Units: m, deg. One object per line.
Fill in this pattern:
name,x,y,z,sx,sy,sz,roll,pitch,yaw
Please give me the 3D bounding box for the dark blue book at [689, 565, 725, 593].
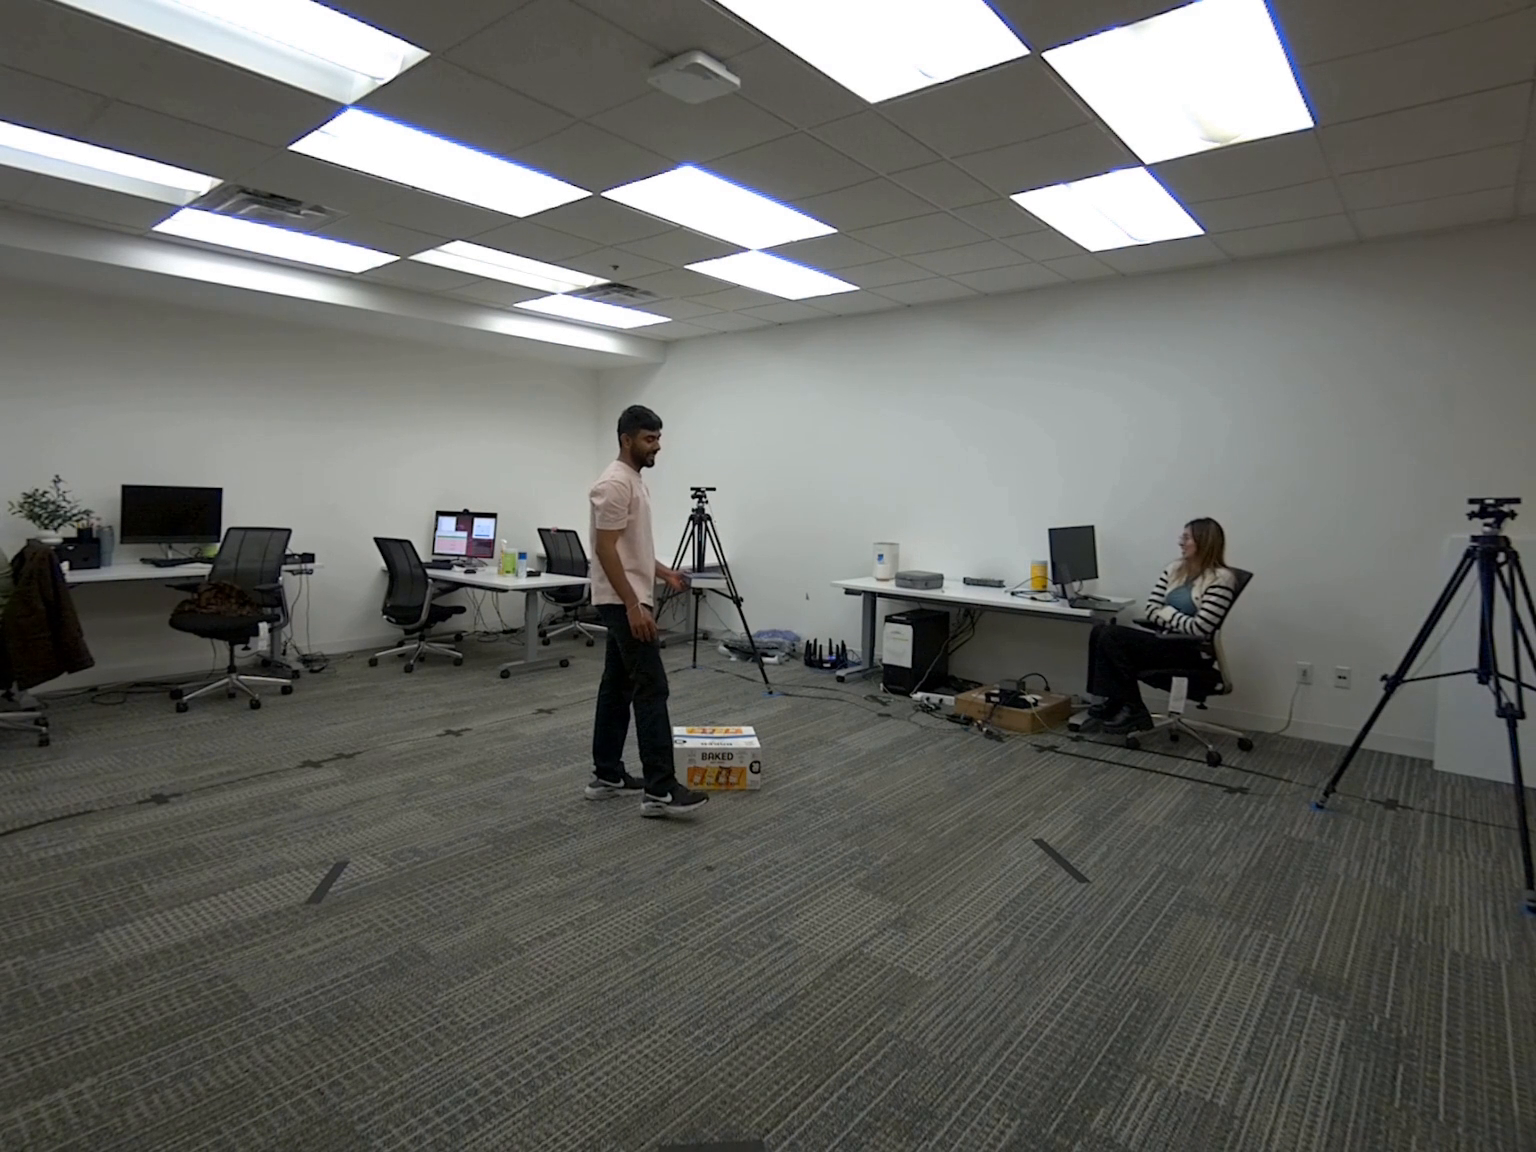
dark blue book,-0.302,0.020,3.763,0.162,0.045,0.248,1,5,-10
